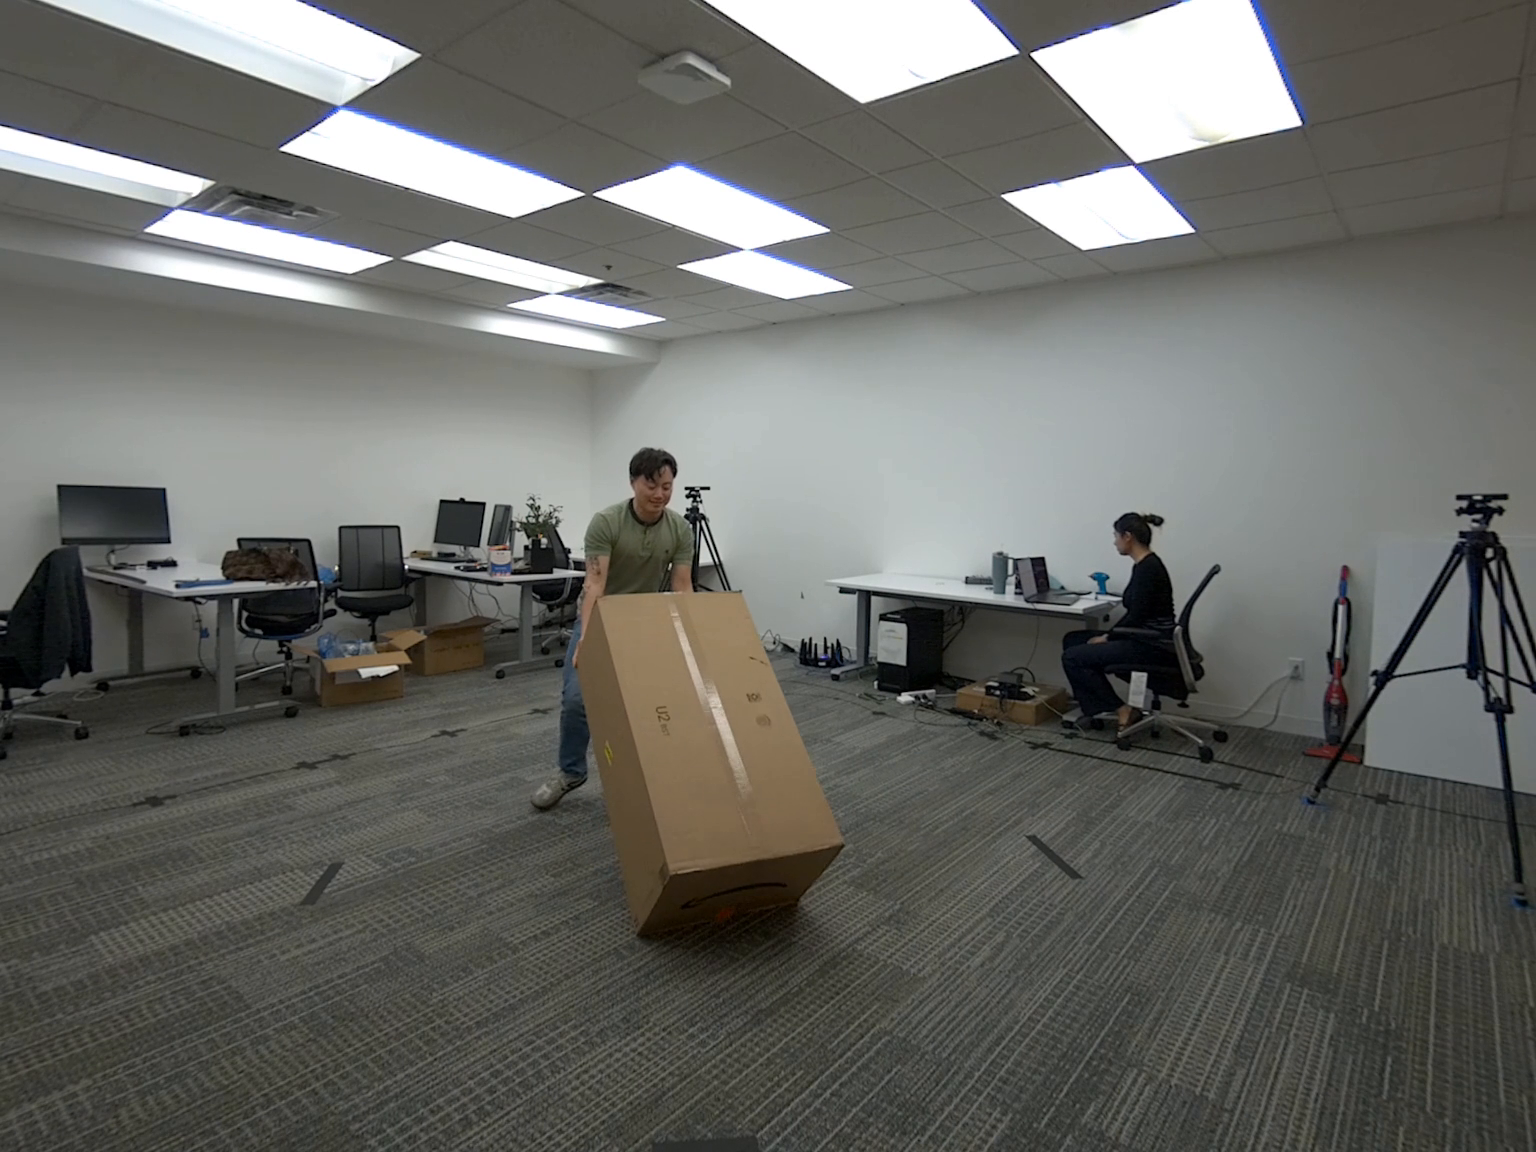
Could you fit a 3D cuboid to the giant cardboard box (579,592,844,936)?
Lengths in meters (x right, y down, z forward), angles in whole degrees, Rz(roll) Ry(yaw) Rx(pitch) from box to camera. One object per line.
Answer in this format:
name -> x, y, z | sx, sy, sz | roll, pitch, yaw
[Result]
giant cardboard box -> -0.258, 0.581, 2.925 | 0.564, 0.420, 1.065 | -2, 47, -26
